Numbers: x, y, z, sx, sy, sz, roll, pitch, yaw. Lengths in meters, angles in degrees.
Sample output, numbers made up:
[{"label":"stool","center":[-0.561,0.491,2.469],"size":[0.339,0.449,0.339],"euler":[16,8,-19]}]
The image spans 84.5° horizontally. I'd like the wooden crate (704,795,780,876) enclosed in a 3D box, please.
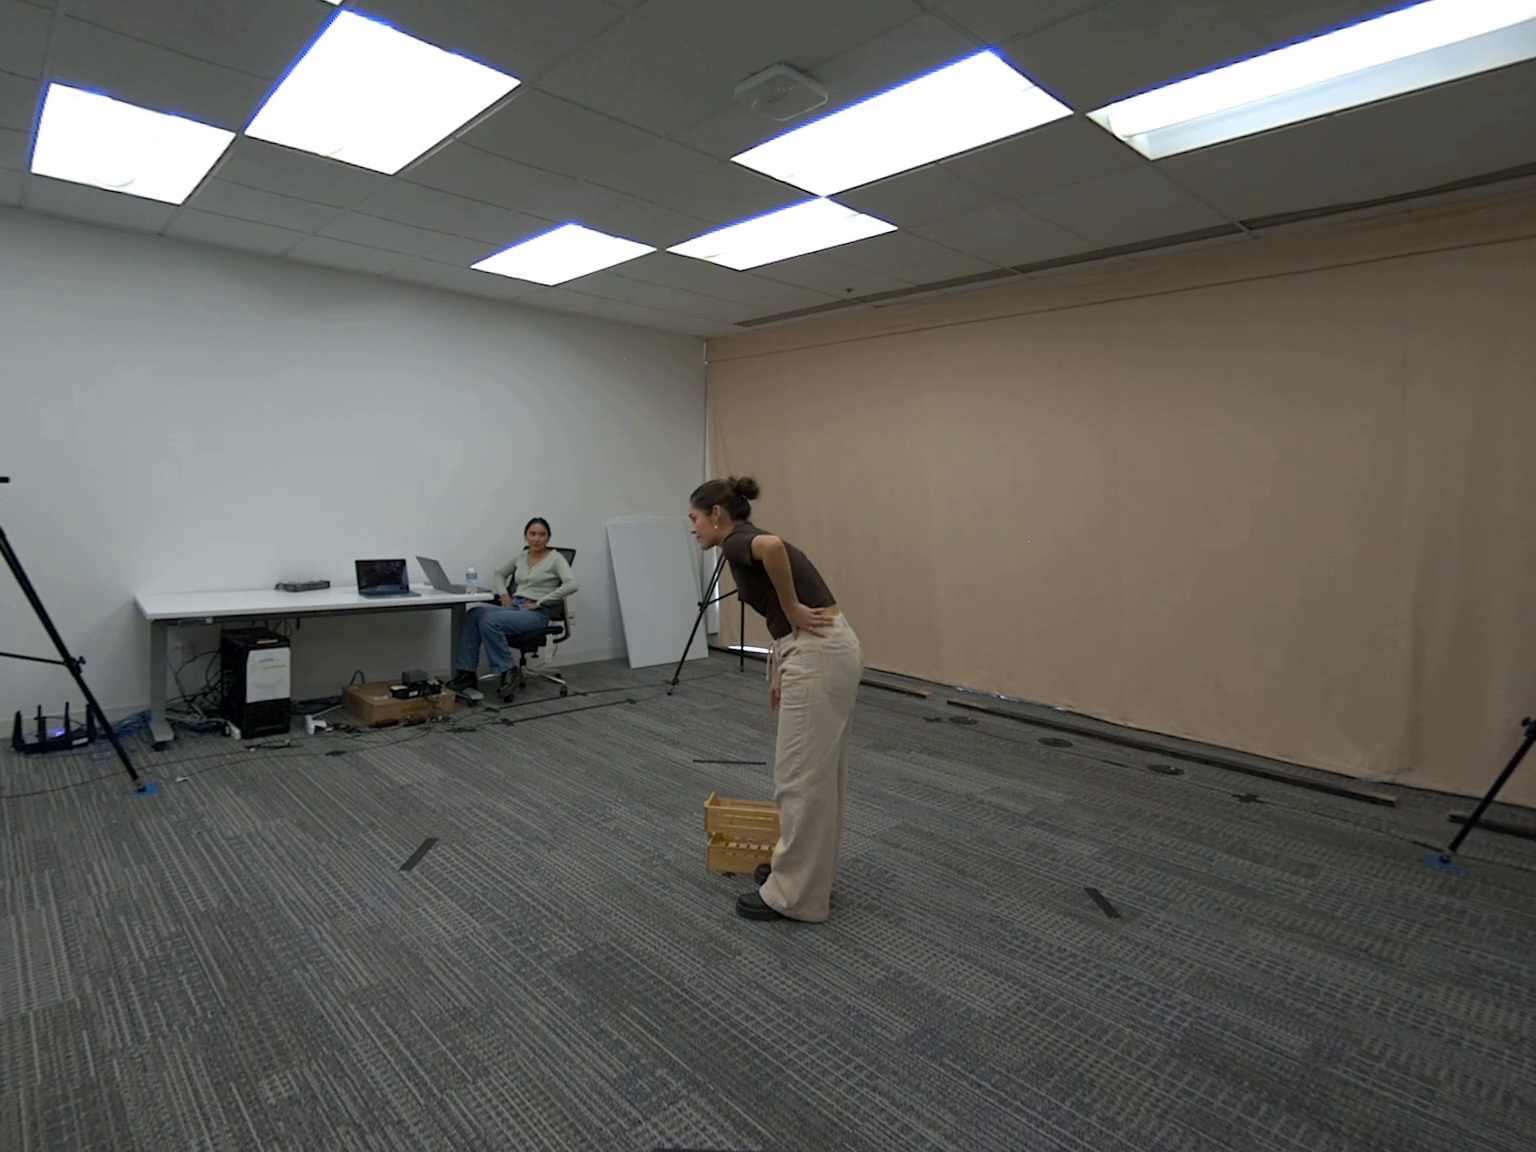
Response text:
[{"label":"wooden crate","center":[-0.076,0.963,3.213],"size":[0.327,0.272,0.301],"euler":[2,6,8]}]
